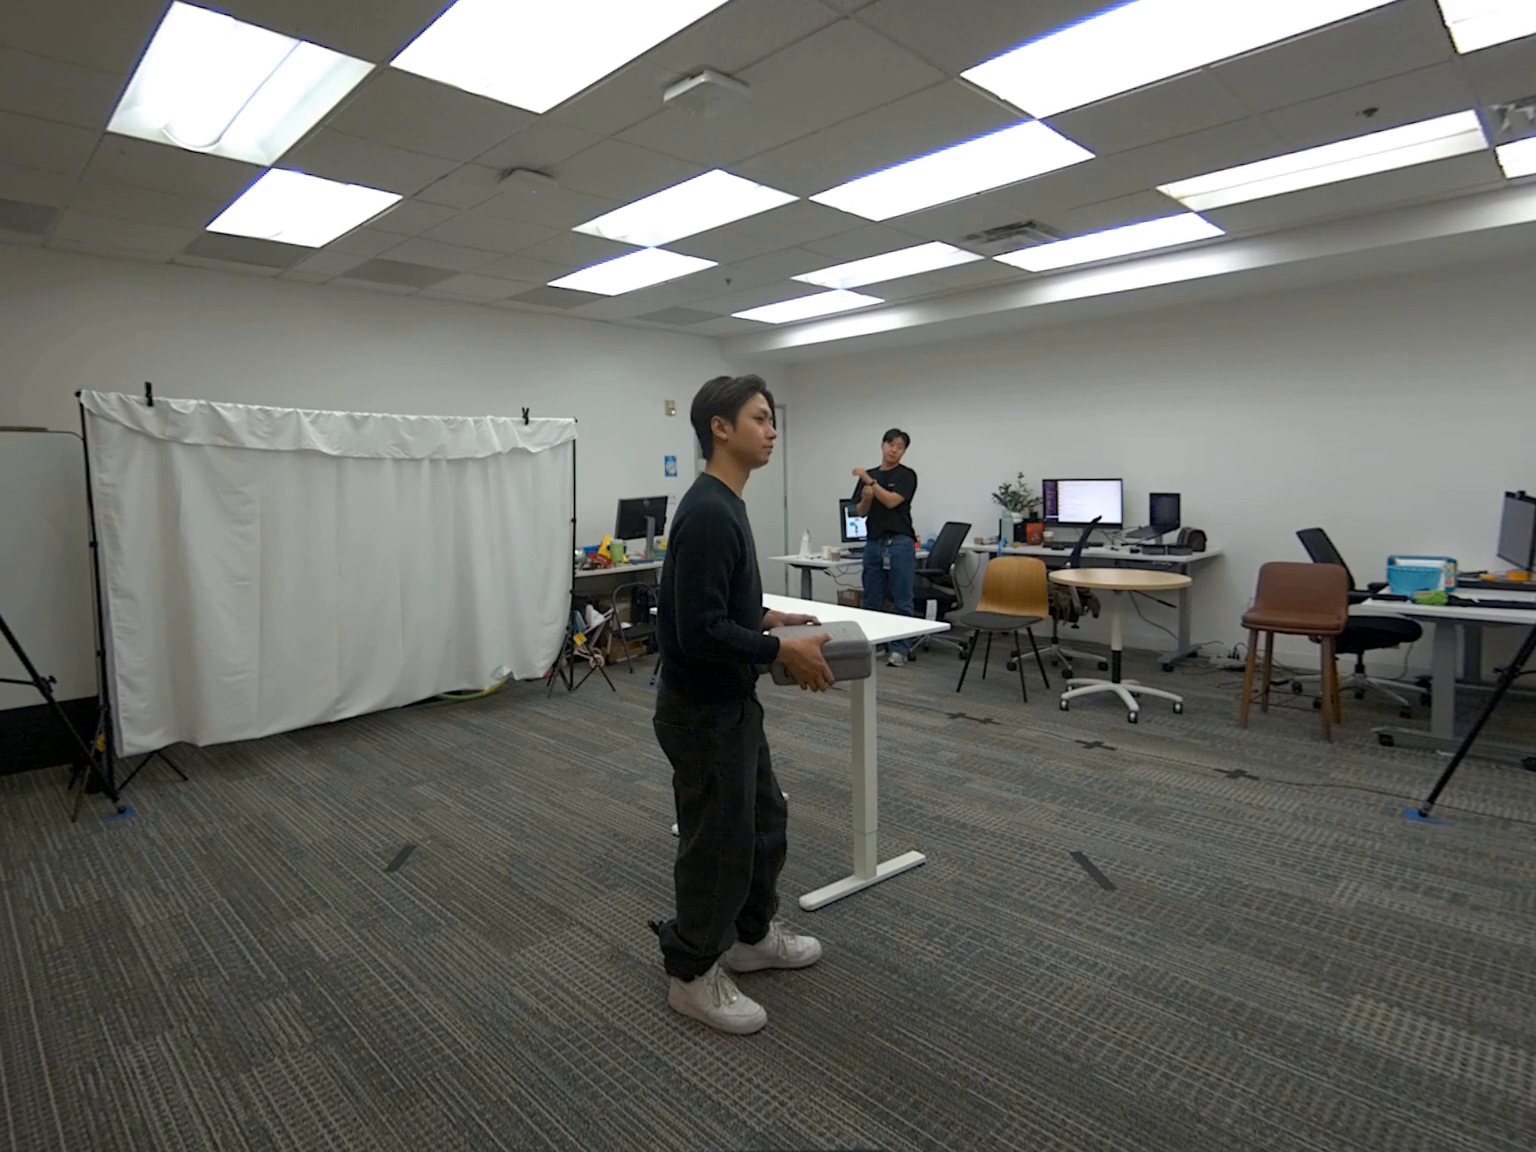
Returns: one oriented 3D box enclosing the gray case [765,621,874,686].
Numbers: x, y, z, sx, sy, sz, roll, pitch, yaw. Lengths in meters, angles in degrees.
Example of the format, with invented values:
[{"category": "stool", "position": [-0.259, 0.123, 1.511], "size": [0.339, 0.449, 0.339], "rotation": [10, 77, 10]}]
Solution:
[{"category": "gray case", "position": [0.125, 0.197, 2.187], "size": [0.261, 0.103, 0.258], "rotation": [-6, 8, 2]}]
